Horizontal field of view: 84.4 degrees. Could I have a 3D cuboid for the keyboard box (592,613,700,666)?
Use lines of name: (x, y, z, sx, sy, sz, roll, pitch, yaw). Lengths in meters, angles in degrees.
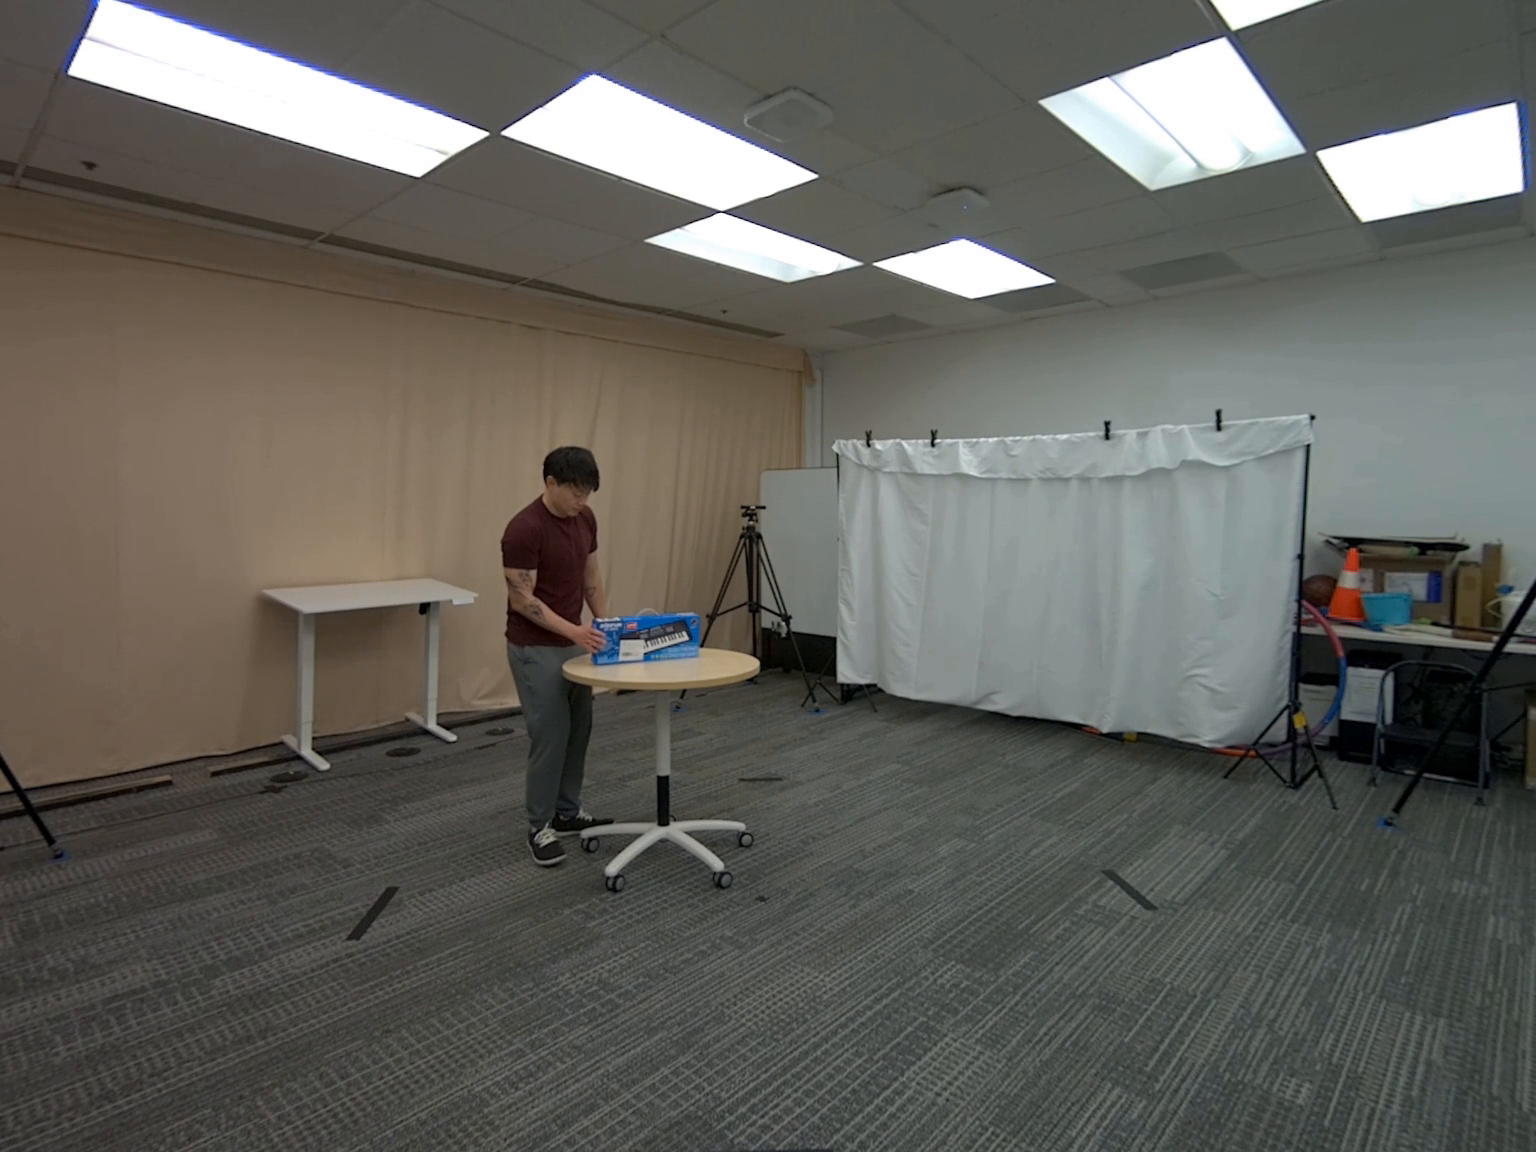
keyboard box: (-0.482, 0.251, 3.340, 0.426, 0.175, 0.061, -2, 8, -27)
